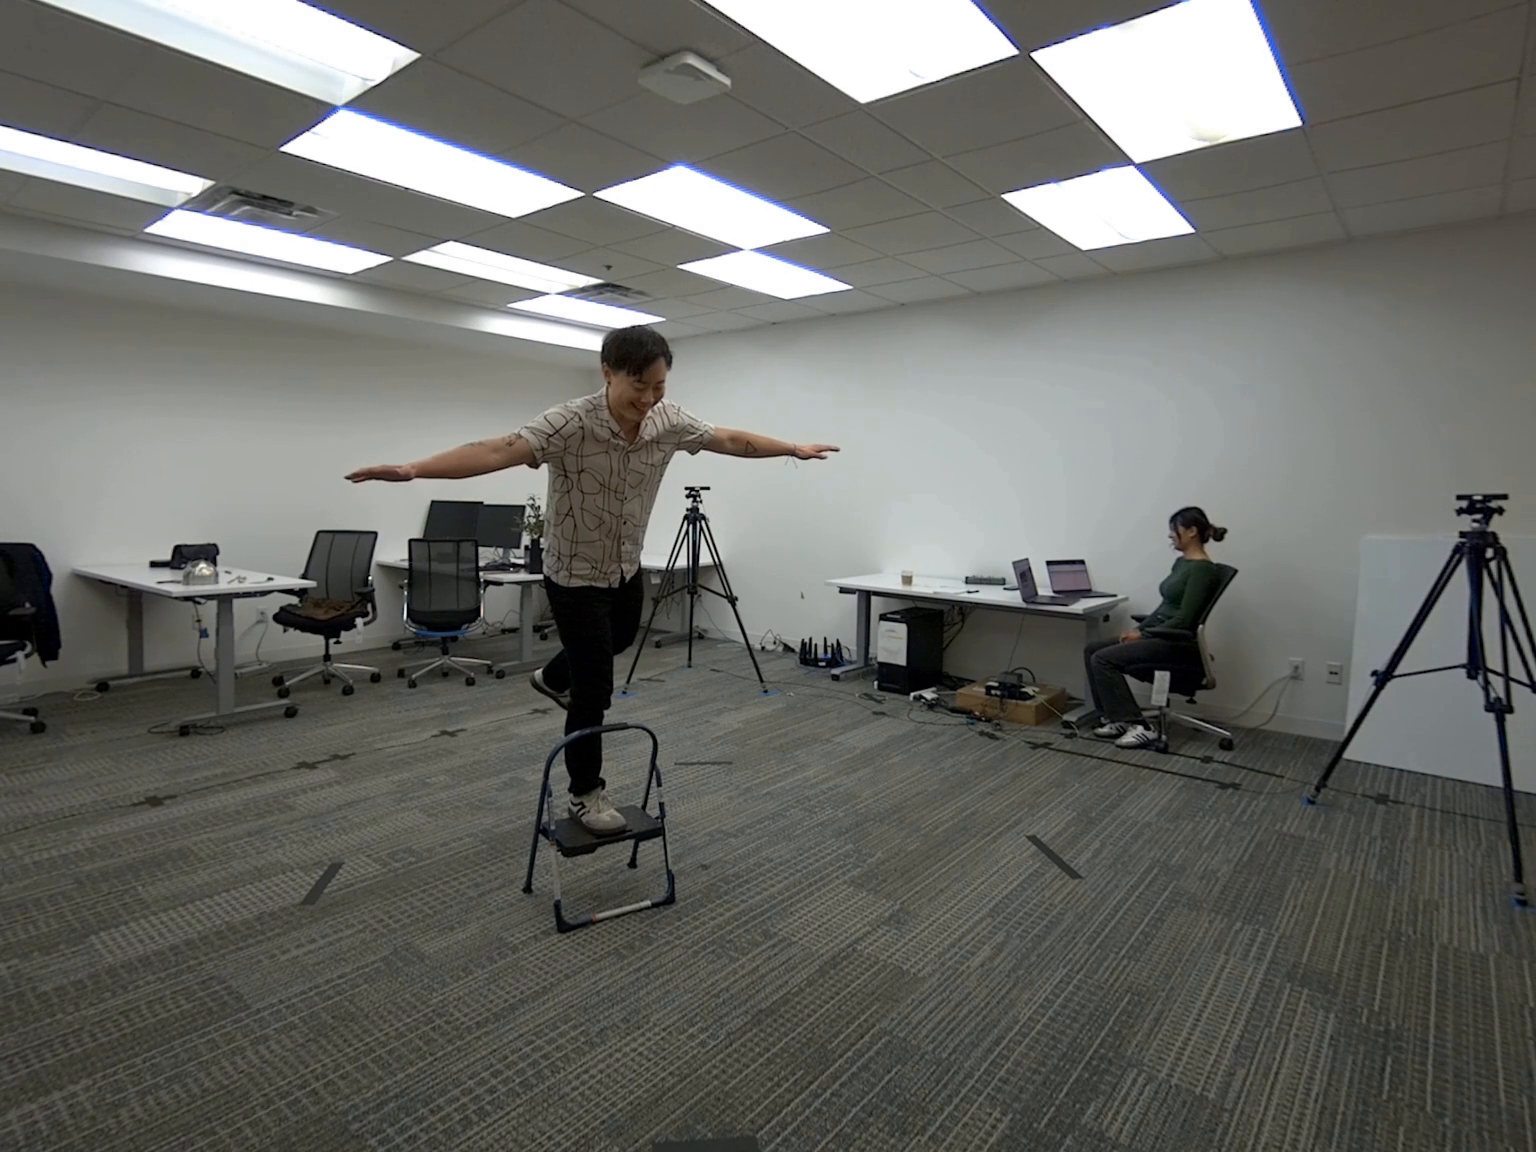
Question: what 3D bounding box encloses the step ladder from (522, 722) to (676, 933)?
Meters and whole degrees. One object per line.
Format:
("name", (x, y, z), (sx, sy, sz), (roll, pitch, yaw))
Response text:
("step ladder", (-0.579, 0.781, 2.869), (0.418, 0.604, 0.360), (-2, 4, -34))
